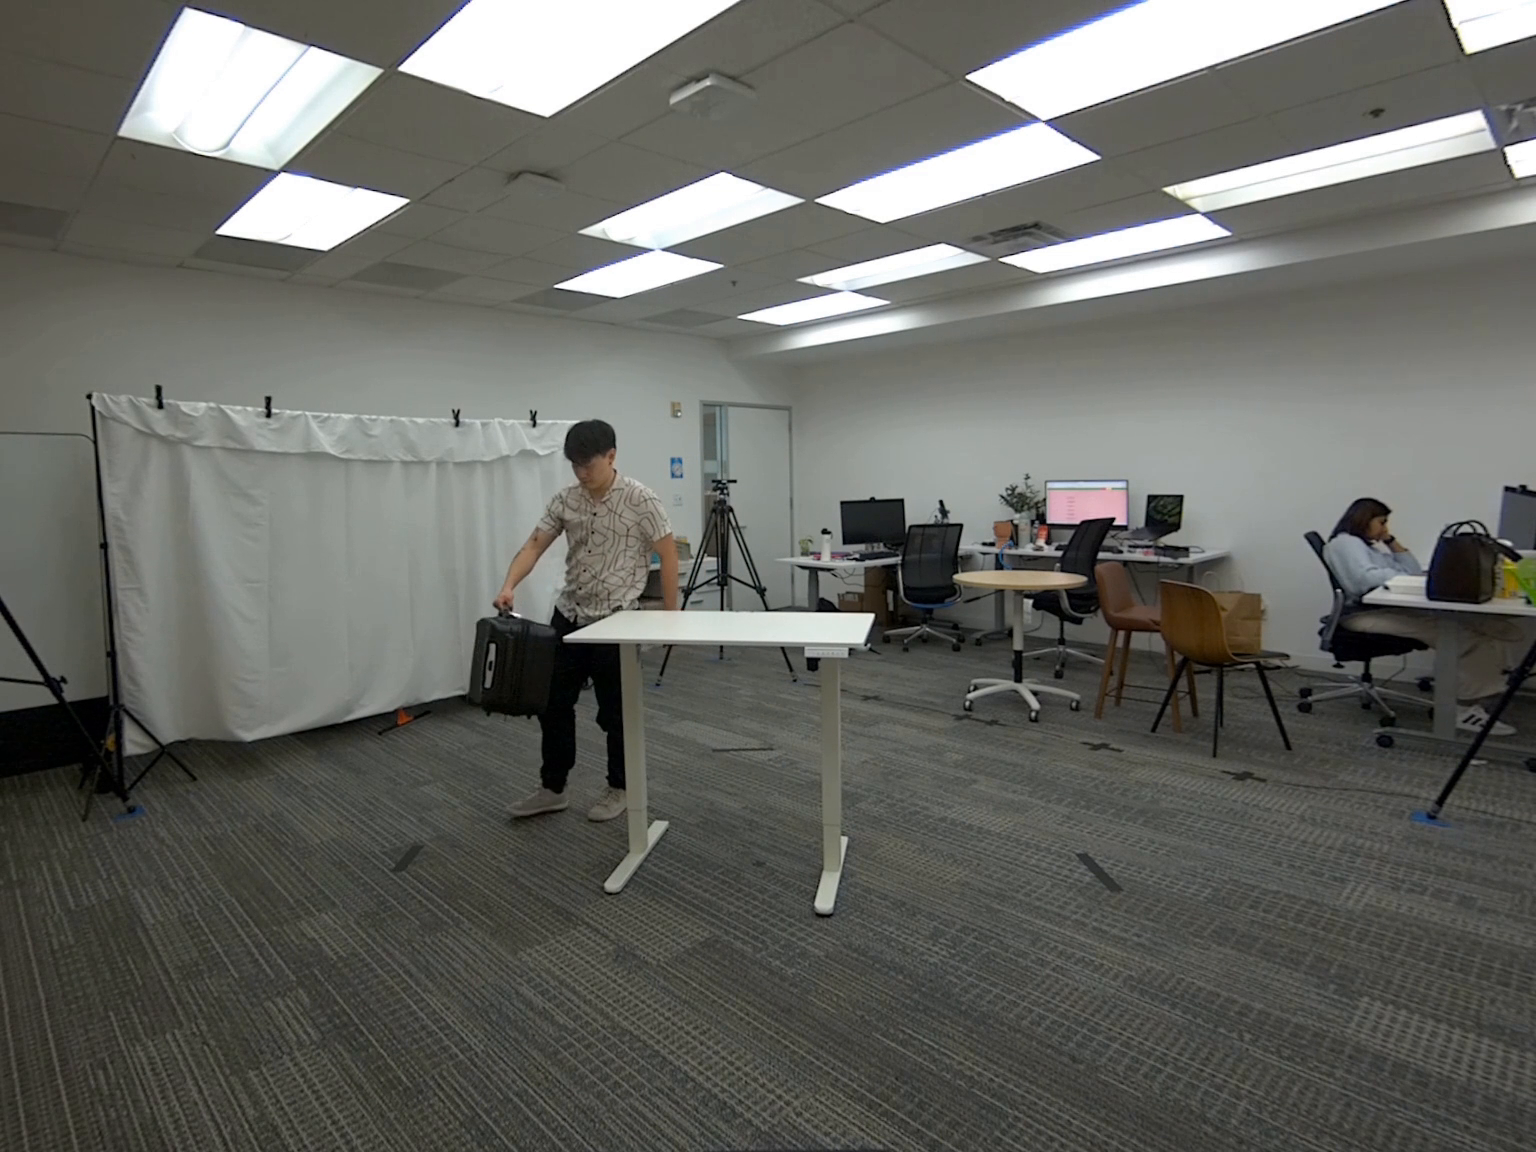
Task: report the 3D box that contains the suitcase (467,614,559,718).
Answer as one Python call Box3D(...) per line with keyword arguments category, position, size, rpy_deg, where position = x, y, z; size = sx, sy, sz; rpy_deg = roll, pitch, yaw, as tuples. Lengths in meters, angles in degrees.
Box3D(category="suitcase", position=(-0.999, 0.339, 3.338), size=(0.243, 0.377, 0.558), rpy_deg=(9, -5, -21))
